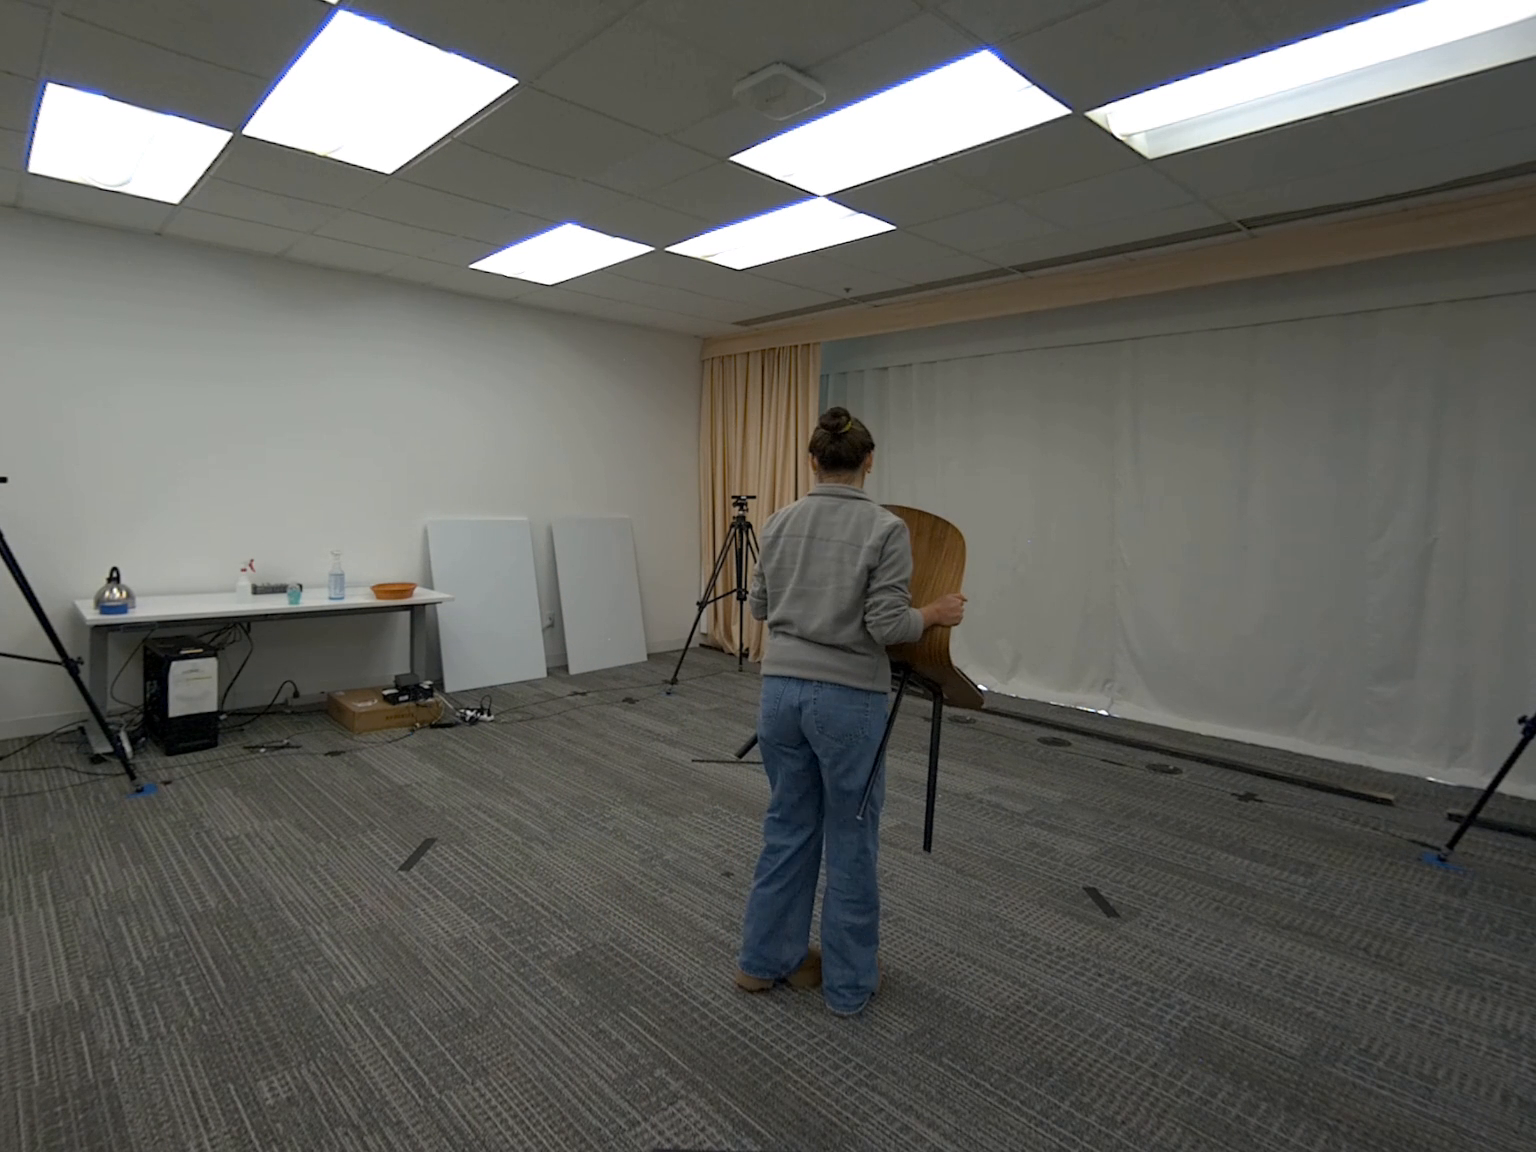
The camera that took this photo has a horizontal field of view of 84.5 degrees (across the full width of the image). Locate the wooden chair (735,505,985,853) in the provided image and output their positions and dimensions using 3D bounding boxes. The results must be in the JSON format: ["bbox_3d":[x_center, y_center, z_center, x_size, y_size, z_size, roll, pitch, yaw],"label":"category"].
[{"bbox_3d":[0.357,0.296,2.525,0.491,0.881,0.506,13,-14,41],"label":"wooden chair"}]
